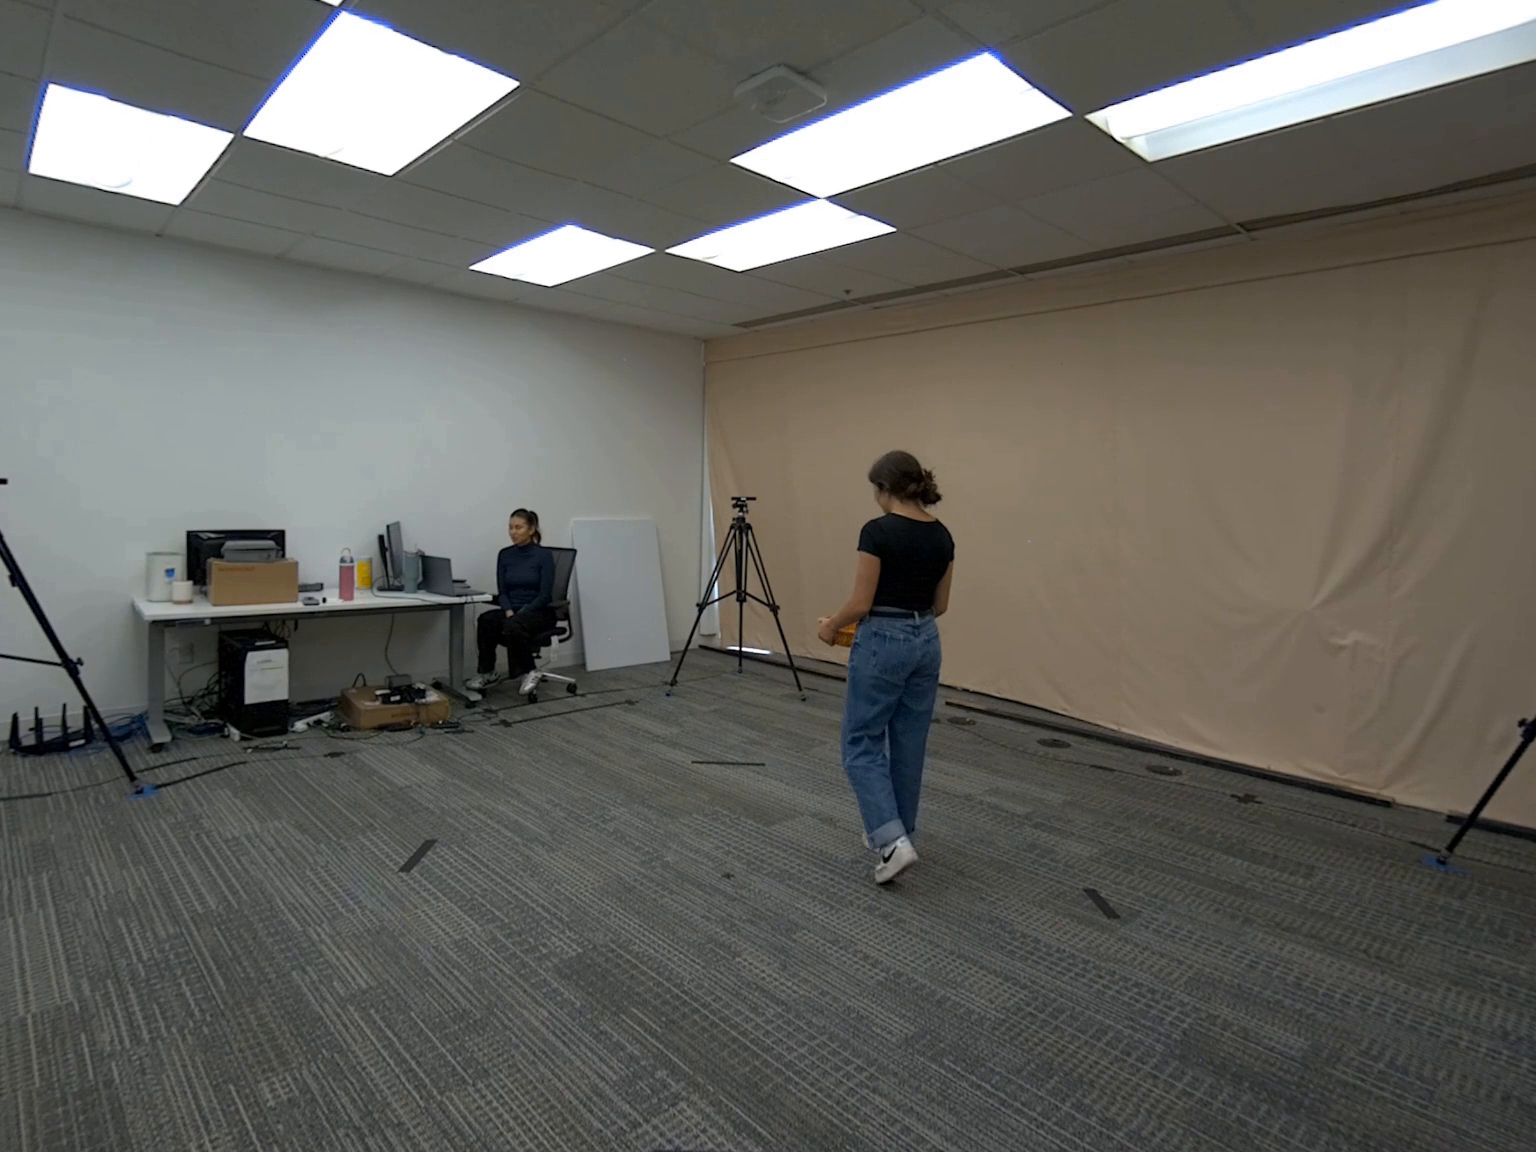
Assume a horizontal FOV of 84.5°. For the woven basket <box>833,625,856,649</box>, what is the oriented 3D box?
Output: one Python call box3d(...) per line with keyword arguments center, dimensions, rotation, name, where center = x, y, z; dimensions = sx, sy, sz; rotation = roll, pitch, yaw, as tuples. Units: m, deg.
box3d(center=(0.391, 0.240, 3.450), dimensions=(0.342, 0.073, 0.260), rotation=(0, 13, -35), name="woven basket")
